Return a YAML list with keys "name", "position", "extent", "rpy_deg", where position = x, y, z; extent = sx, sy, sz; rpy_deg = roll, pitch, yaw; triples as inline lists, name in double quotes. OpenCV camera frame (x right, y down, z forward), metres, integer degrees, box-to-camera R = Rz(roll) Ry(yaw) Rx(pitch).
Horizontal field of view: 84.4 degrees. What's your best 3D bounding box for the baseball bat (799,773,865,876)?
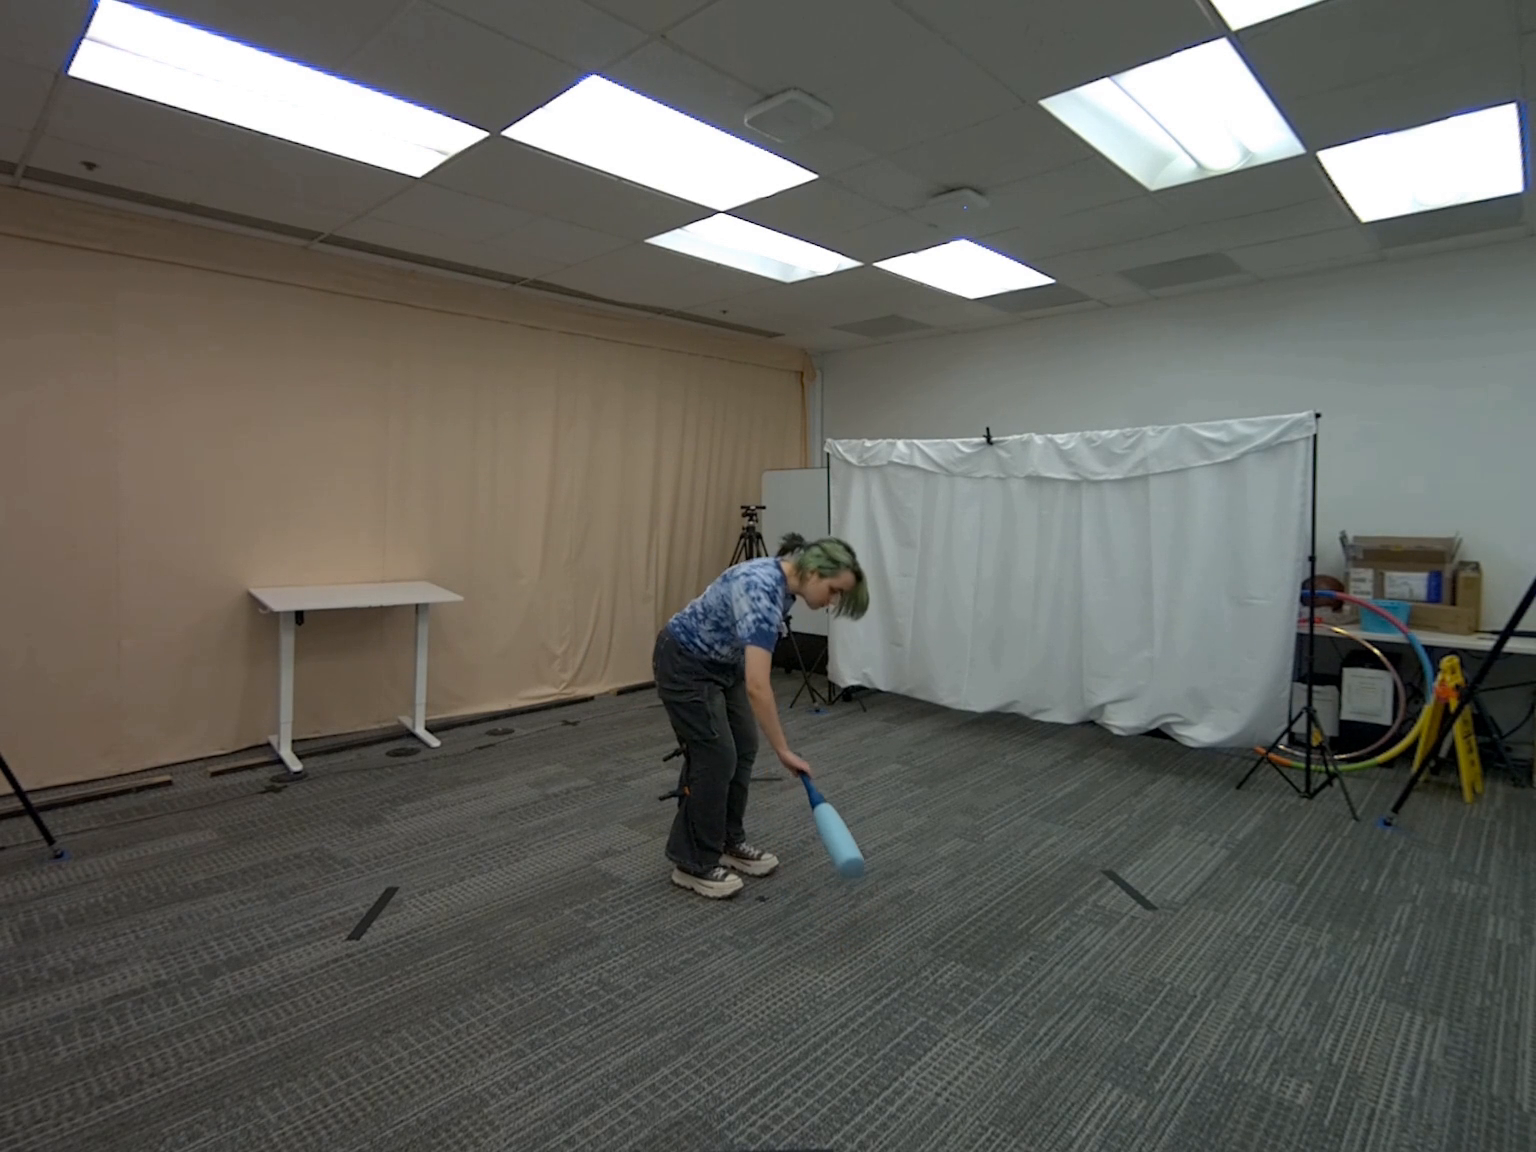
- name: "baseball bat"
  position: [0.181, 0.750, 2.693]
  extent: [0.087, 0.088, 0.558]
  rpy_deg: [-2, 23, -17]
